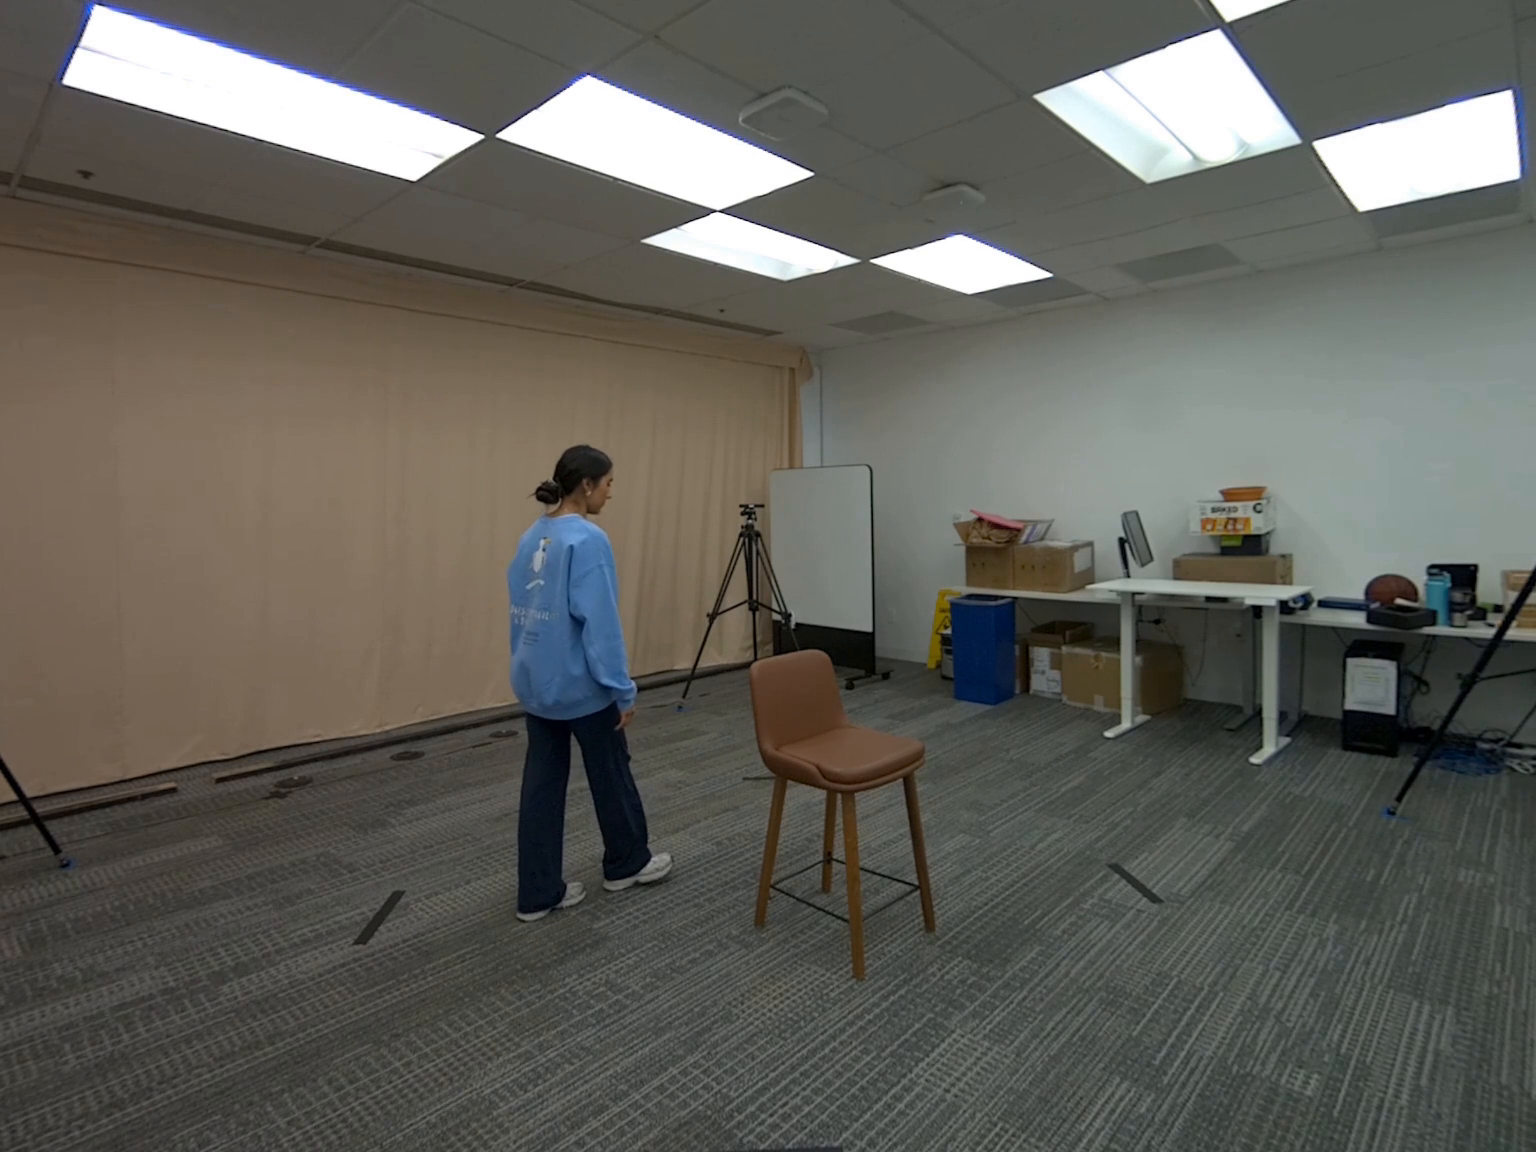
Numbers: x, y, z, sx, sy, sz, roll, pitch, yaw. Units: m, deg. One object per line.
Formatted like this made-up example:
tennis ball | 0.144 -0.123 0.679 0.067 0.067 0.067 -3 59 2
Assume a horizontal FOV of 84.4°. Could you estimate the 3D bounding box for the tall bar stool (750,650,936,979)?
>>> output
tall bar stool | 0.236 0.722 2.732 0.442 0.889 0.483 -4 2 -44
